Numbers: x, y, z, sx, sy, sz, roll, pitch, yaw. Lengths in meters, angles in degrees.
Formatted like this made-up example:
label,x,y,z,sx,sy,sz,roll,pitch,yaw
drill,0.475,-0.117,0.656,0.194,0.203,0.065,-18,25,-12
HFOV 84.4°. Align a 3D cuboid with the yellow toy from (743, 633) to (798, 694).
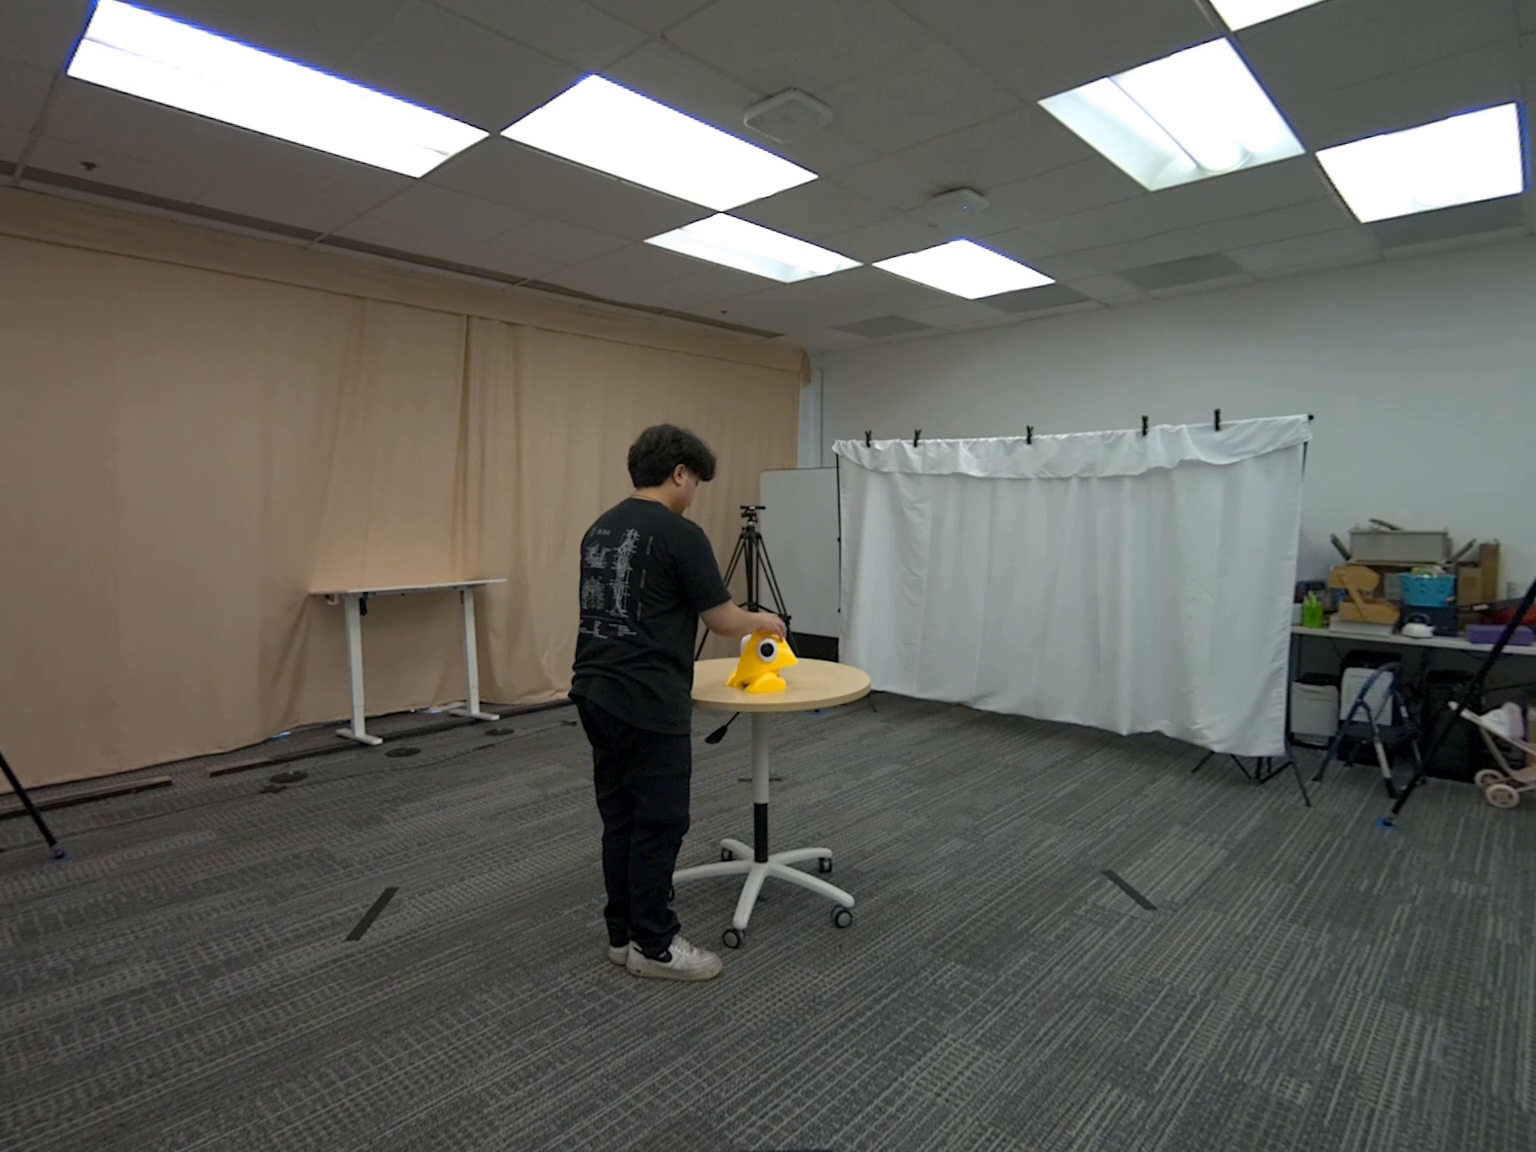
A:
label,x,y,z,sx,sy,sz,roll,pitch,yaw
yellow toy,-0.031,0.254,2.799,0.187,0.230,0.211,-3,5,-36
